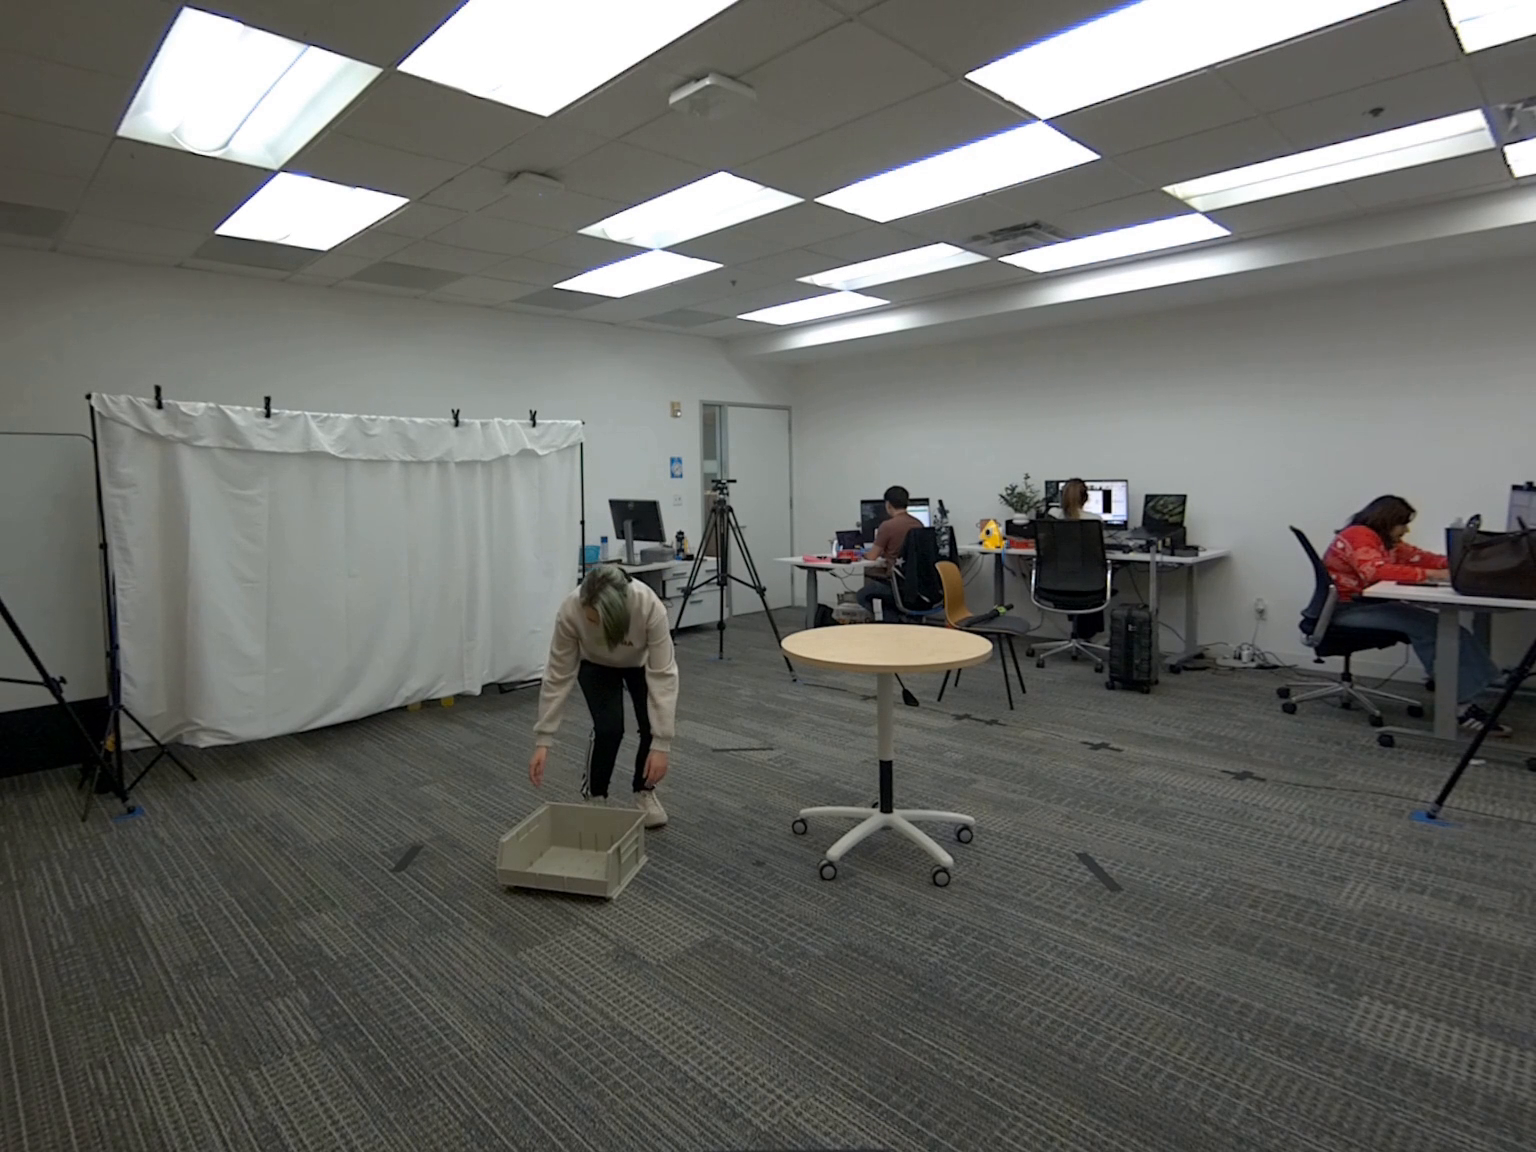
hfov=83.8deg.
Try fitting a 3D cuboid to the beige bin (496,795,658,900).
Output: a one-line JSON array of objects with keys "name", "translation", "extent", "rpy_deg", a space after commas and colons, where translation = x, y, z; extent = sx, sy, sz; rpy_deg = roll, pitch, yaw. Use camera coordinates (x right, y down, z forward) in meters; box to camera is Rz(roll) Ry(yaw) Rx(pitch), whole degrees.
[{"name": "beige bin", "translation": [-0.687, 0.980, 3.039], "extent": [0.428, 0.188, 0.373], "rpy_deg": [-1, 4, 15]}]
